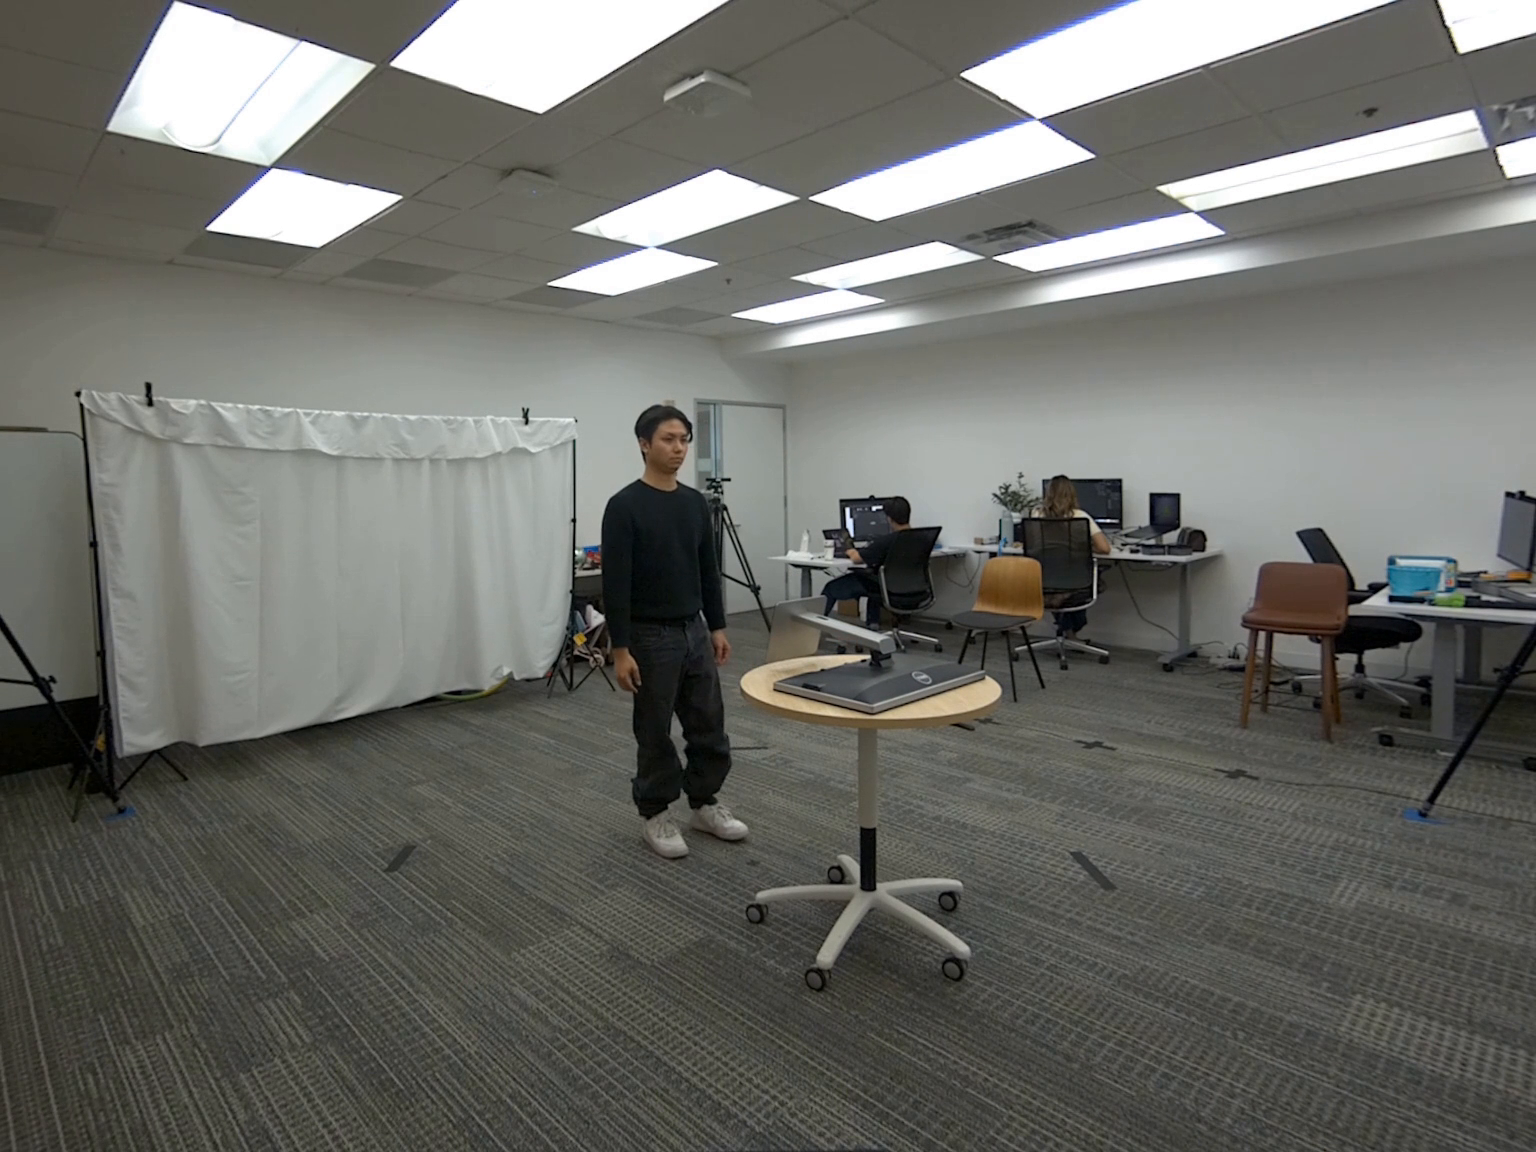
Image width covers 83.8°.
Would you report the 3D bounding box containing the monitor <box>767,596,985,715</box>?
[{"bbox_3d":[0.298,0.248,2.575,0.526,0.185,0.542,-10,25,-42],"label":"monitor"}]
